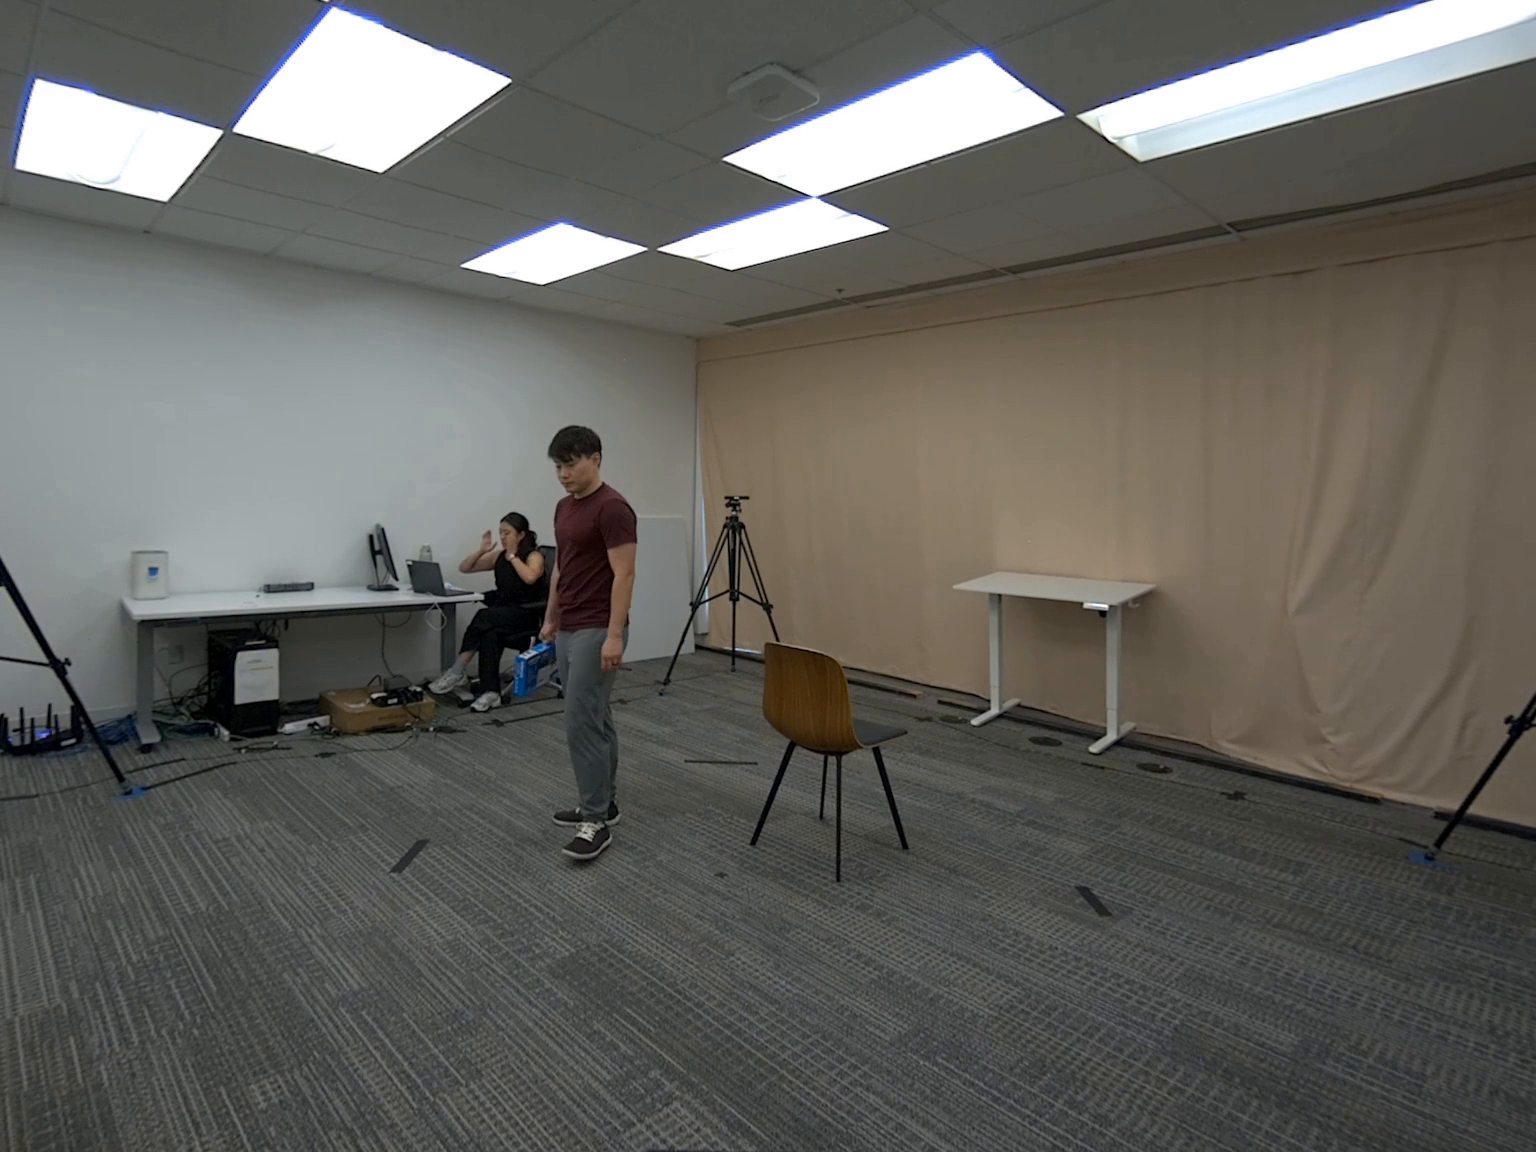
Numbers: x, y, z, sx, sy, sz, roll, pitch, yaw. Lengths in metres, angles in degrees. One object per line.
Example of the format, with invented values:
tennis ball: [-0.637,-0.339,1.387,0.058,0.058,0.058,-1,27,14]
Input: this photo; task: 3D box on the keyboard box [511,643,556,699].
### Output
keyboard box: [-0.969,0.377,3.730,0.060,0.174,0.434,11,15,14]
